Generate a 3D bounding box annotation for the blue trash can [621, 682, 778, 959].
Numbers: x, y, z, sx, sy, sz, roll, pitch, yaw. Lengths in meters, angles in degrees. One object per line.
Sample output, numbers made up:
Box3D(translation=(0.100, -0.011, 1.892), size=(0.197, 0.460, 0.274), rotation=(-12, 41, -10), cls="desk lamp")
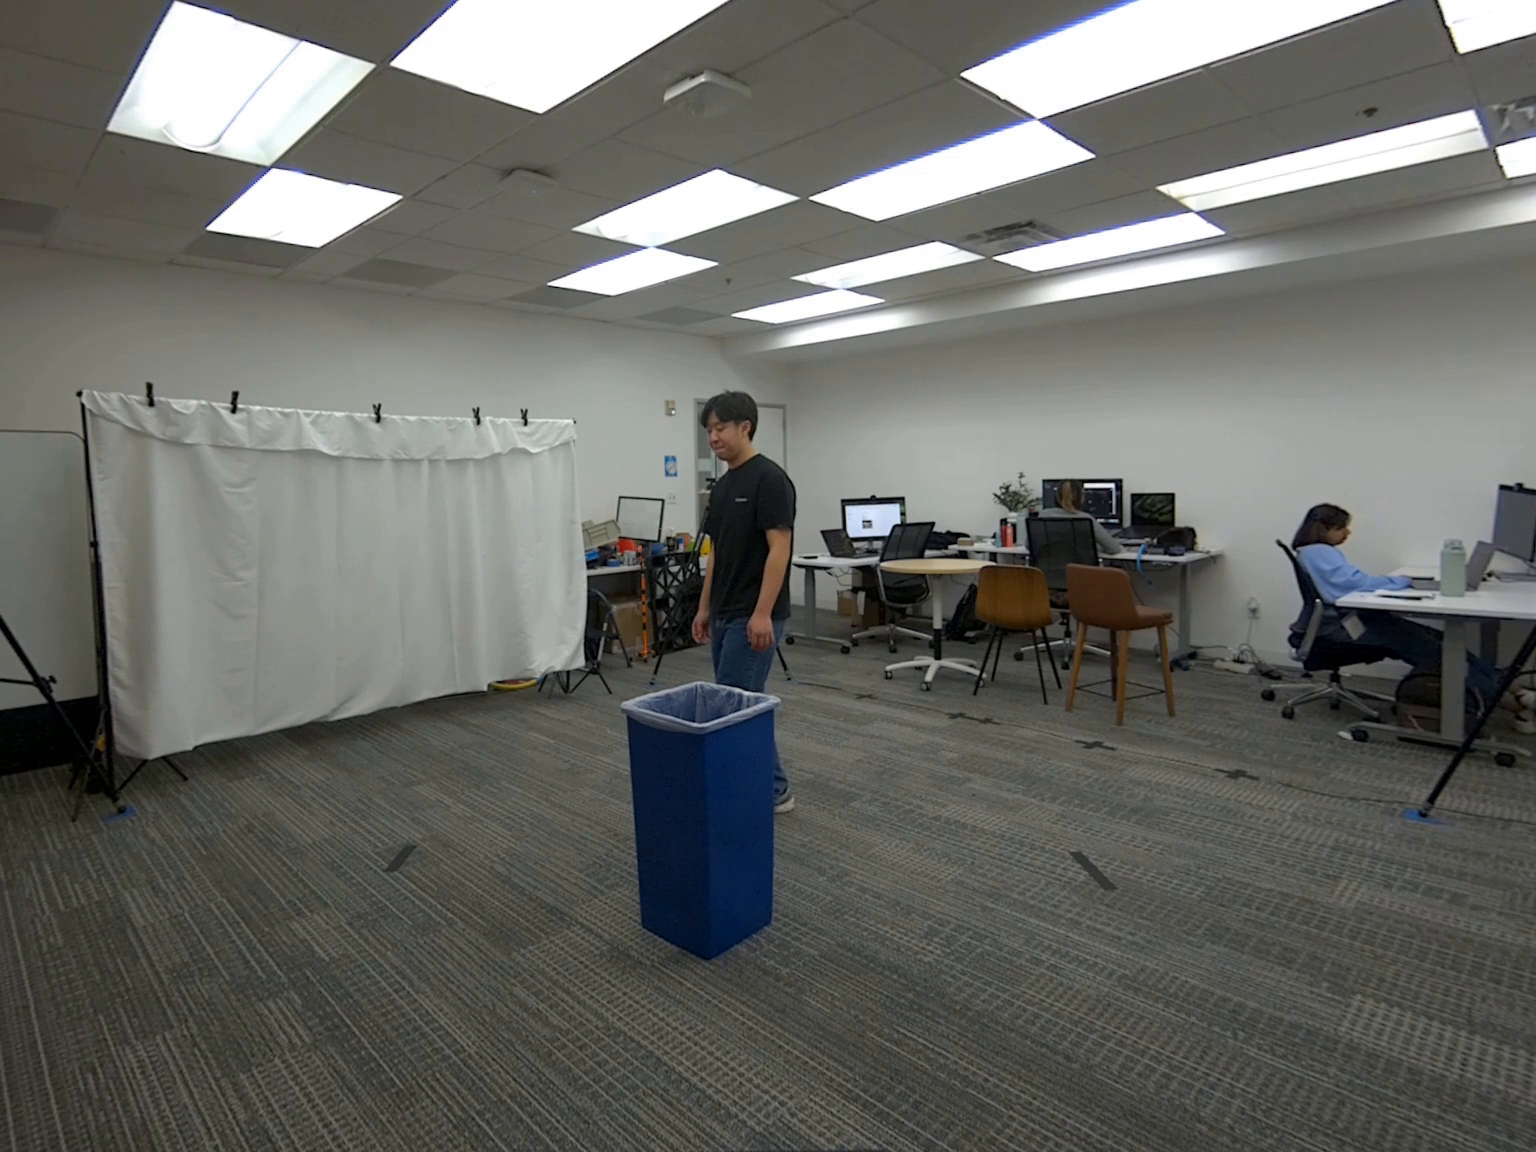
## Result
Box3D(translation=(-0.199, 0.743, 2.653), size=(0.389, 0.711, 0.364), rotation=(3, 6, 41), cls="blue trash can")
